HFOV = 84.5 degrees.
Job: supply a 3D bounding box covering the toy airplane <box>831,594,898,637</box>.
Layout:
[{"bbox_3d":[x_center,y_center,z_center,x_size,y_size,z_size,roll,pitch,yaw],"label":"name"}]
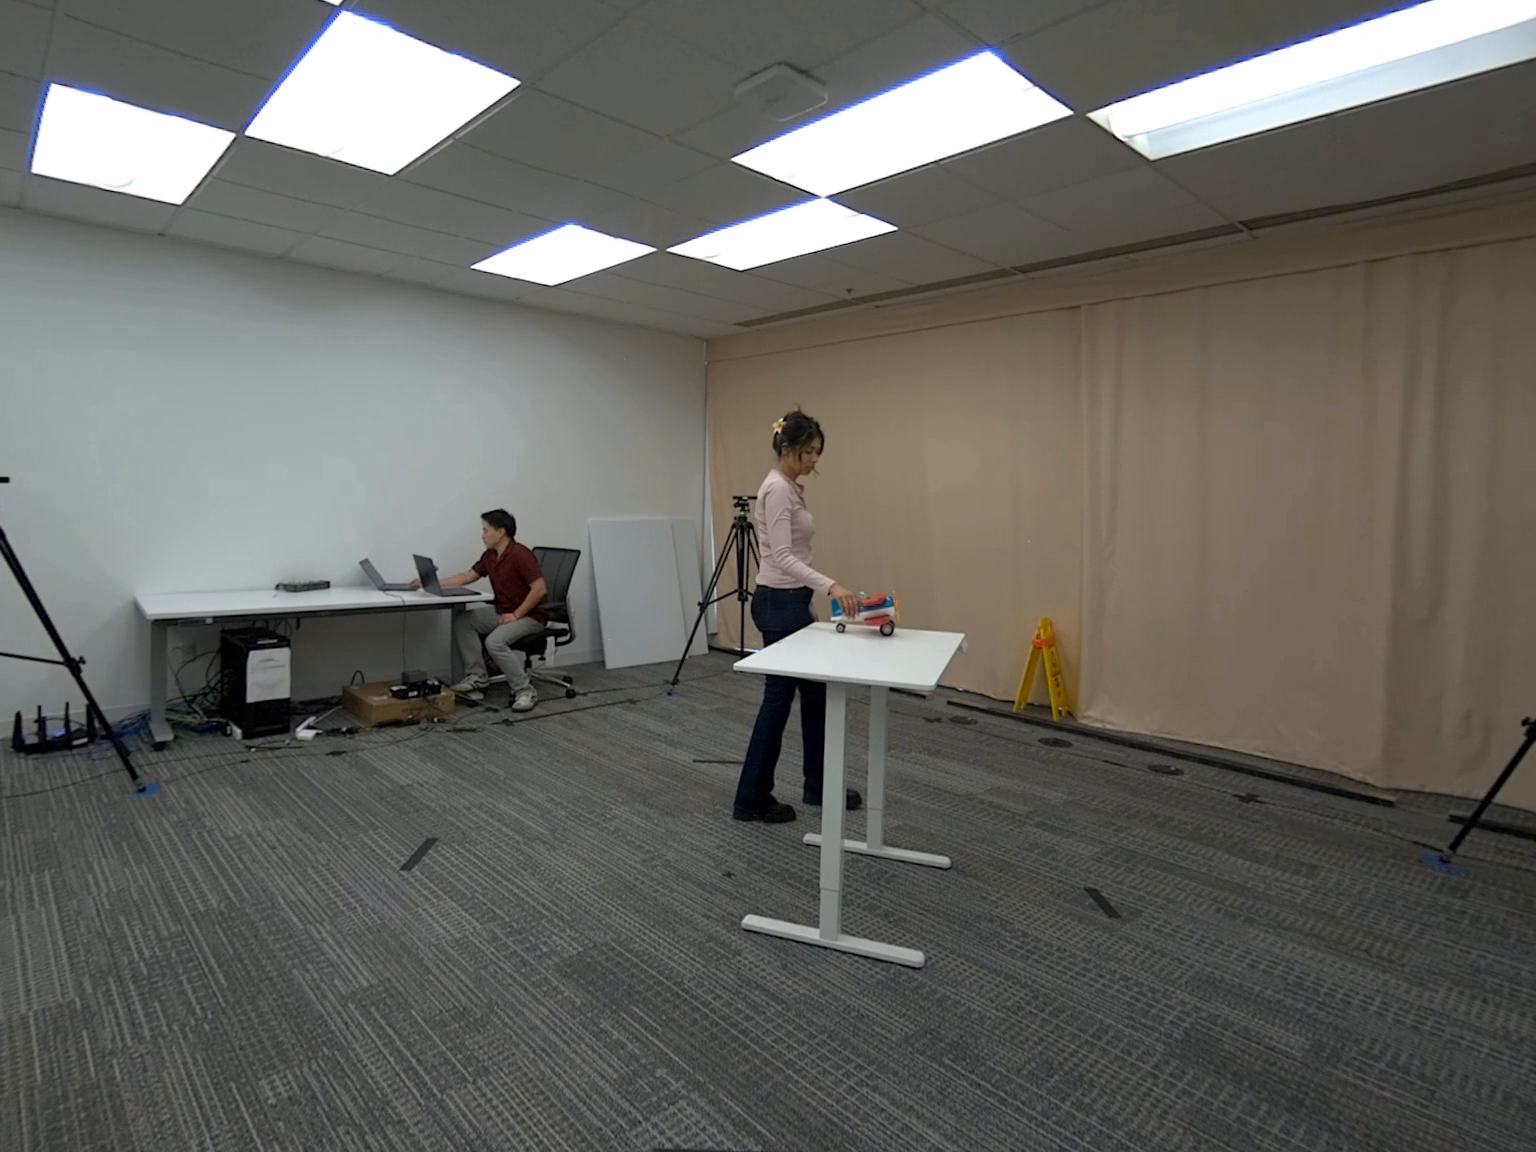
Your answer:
[{"bbox_3d":[0.368,0.146,3.223,0.256,0.156,0.255,1,4,-16],"label":"toy airplane"}]
